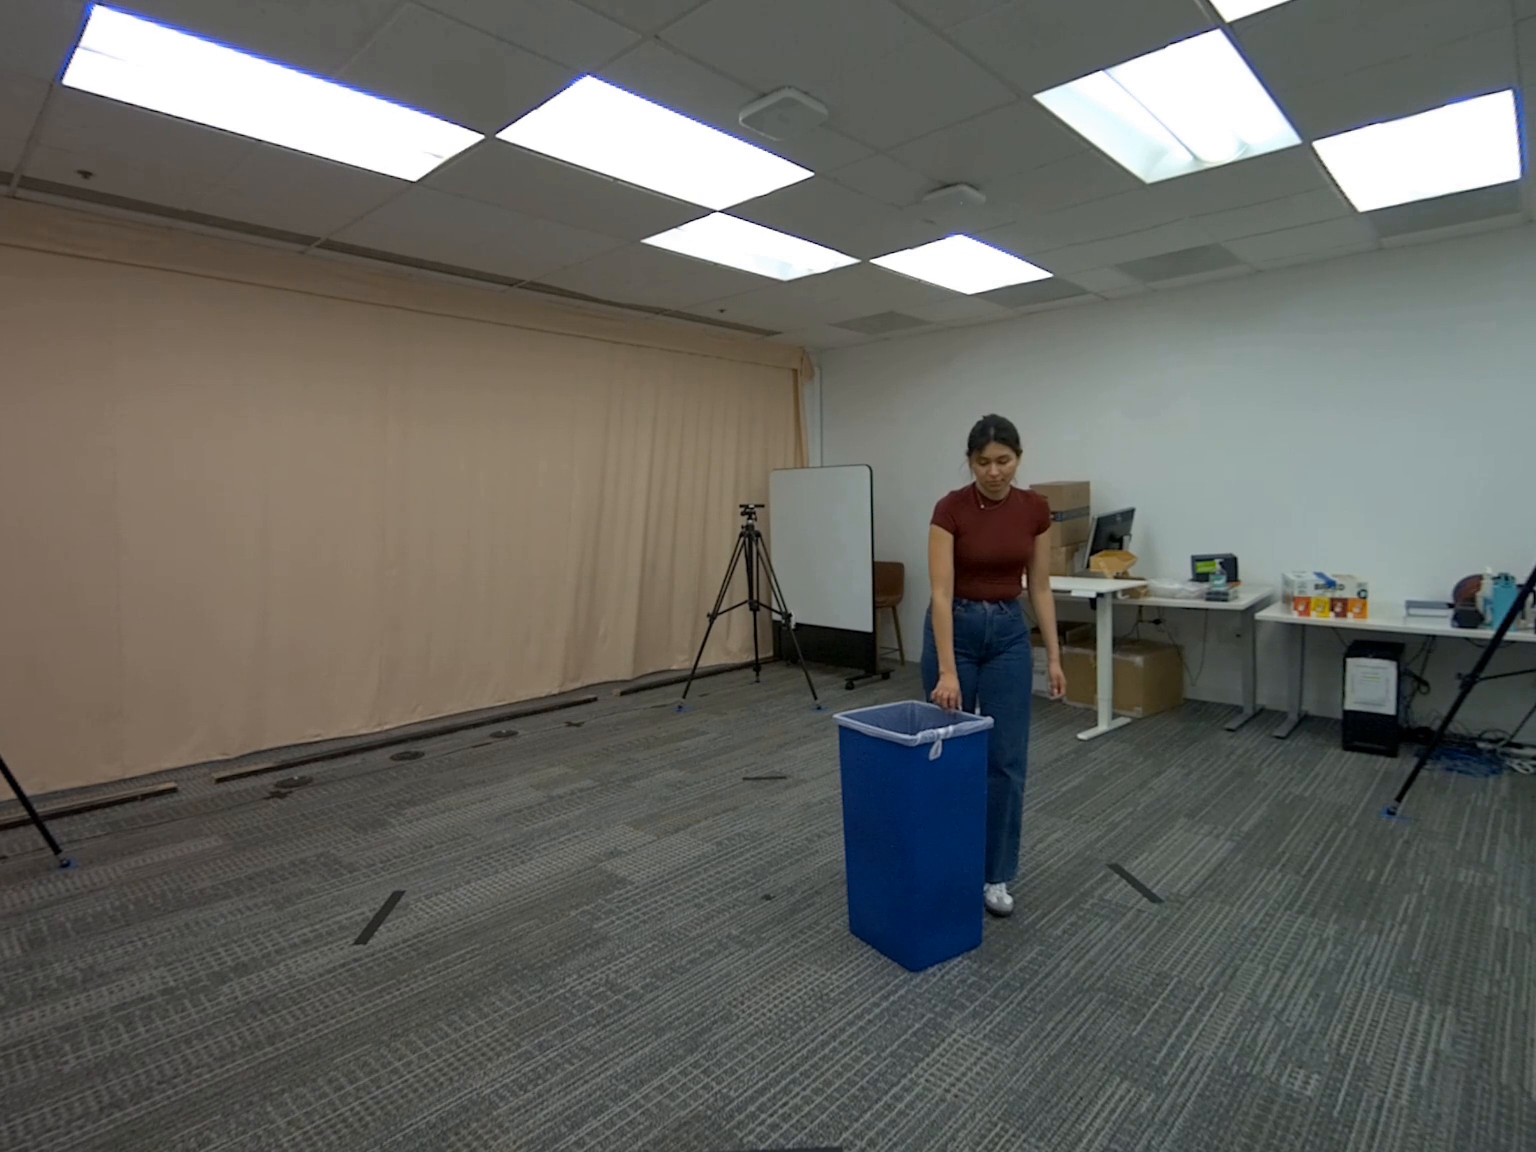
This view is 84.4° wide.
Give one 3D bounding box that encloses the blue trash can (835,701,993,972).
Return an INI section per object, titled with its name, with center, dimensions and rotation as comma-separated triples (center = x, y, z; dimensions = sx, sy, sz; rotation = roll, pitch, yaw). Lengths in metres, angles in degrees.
[blue trash can]
center = 0.460, 0.800, 2.670
dimensions = 0.367, 0.712, 0.386
rotation = -3, 4, -34
